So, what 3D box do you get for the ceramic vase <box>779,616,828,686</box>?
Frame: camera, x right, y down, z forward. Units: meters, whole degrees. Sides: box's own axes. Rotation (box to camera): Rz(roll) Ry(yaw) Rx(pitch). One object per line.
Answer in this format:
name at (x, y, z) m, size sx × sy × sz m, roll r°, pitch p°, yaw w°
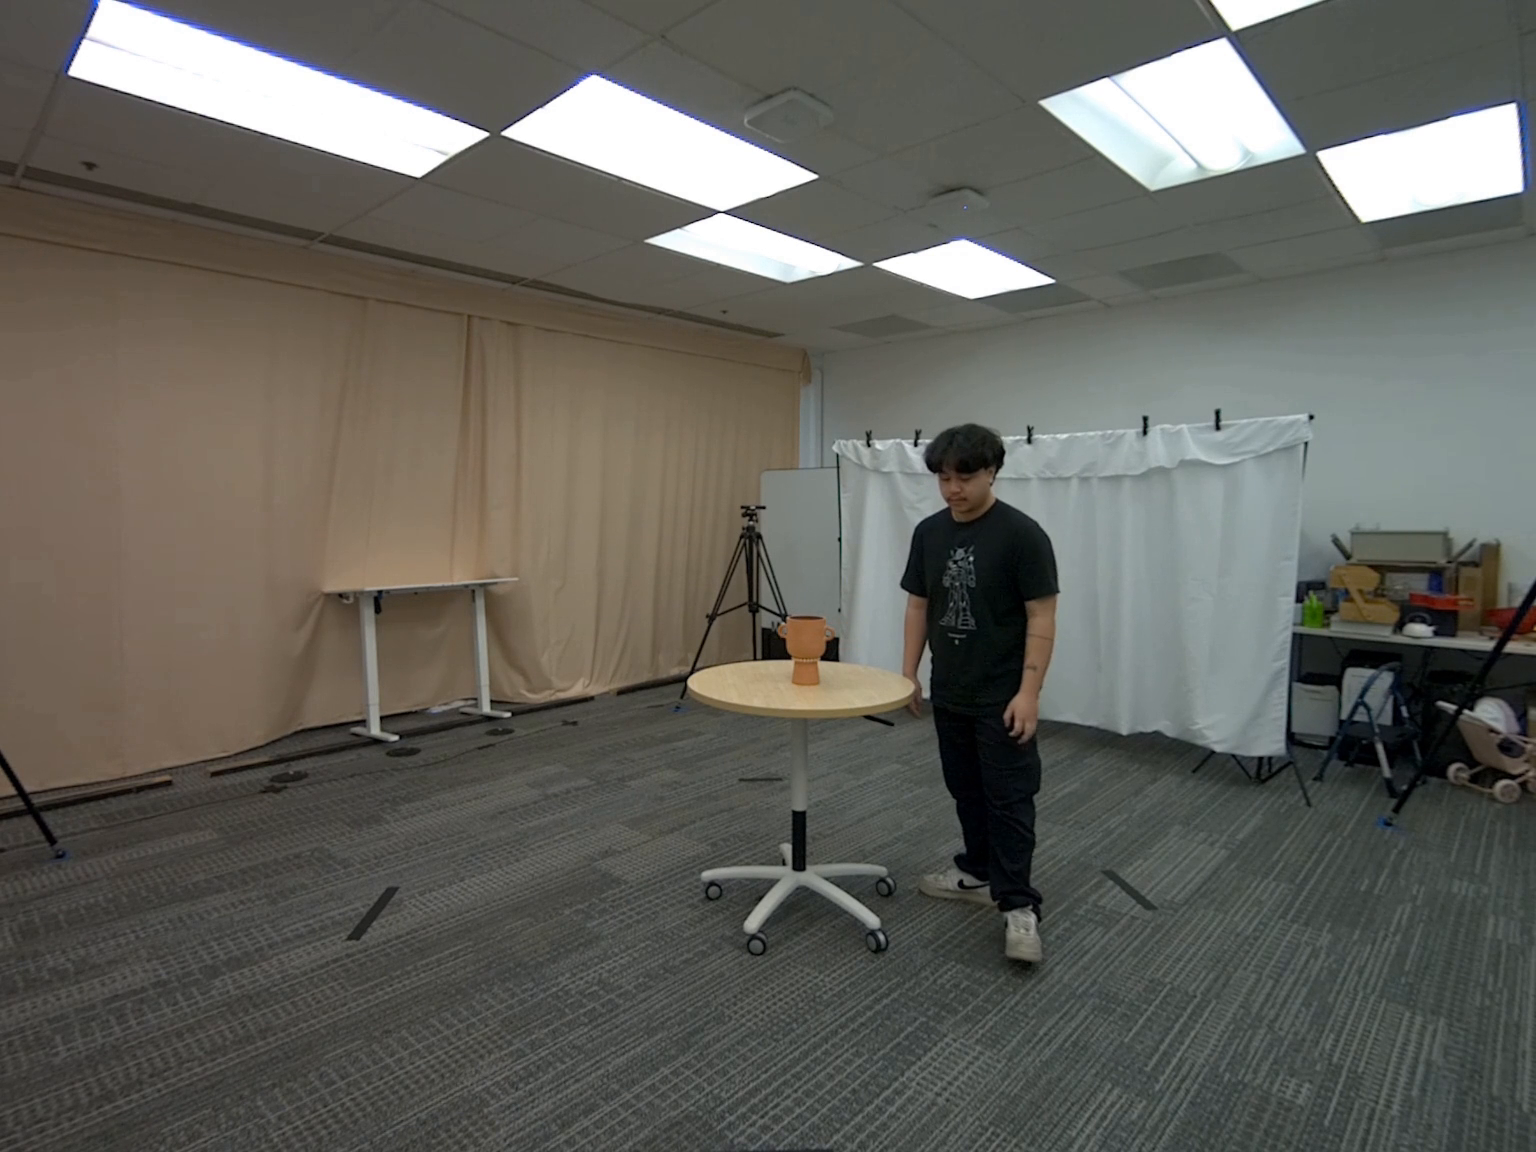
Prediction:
ceramic vase at (0.135, 0.255, 2.846) m, size 0.131 × 0.219 × 0.163 m, roll -2°, pitch 4°, yaw -31°
